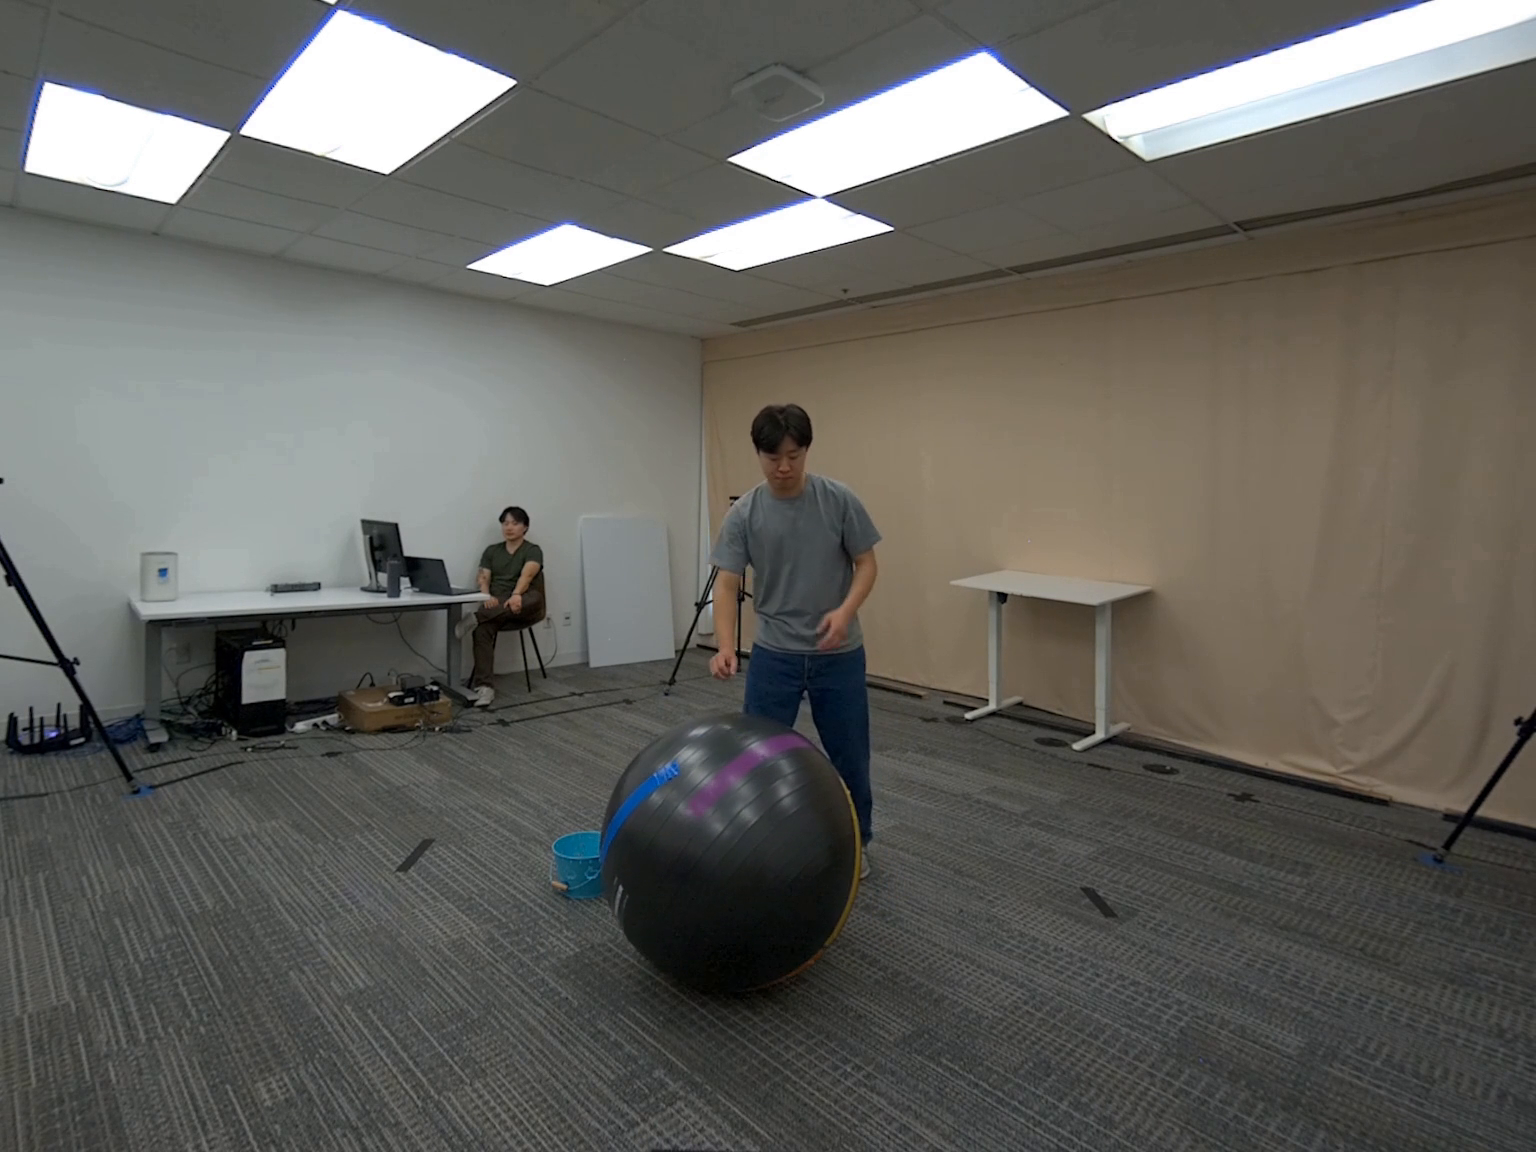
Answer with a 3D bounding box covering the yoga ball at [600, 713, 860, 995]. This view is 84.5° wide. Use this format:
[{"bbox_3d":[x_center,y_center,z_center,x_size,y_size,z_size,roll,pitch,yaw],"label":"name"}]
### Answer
[{"bbox_3d":[-0.115,0.793,2.457,0.757,0.756,0.761,1,4,-1],"label":"yoga ball"}]
